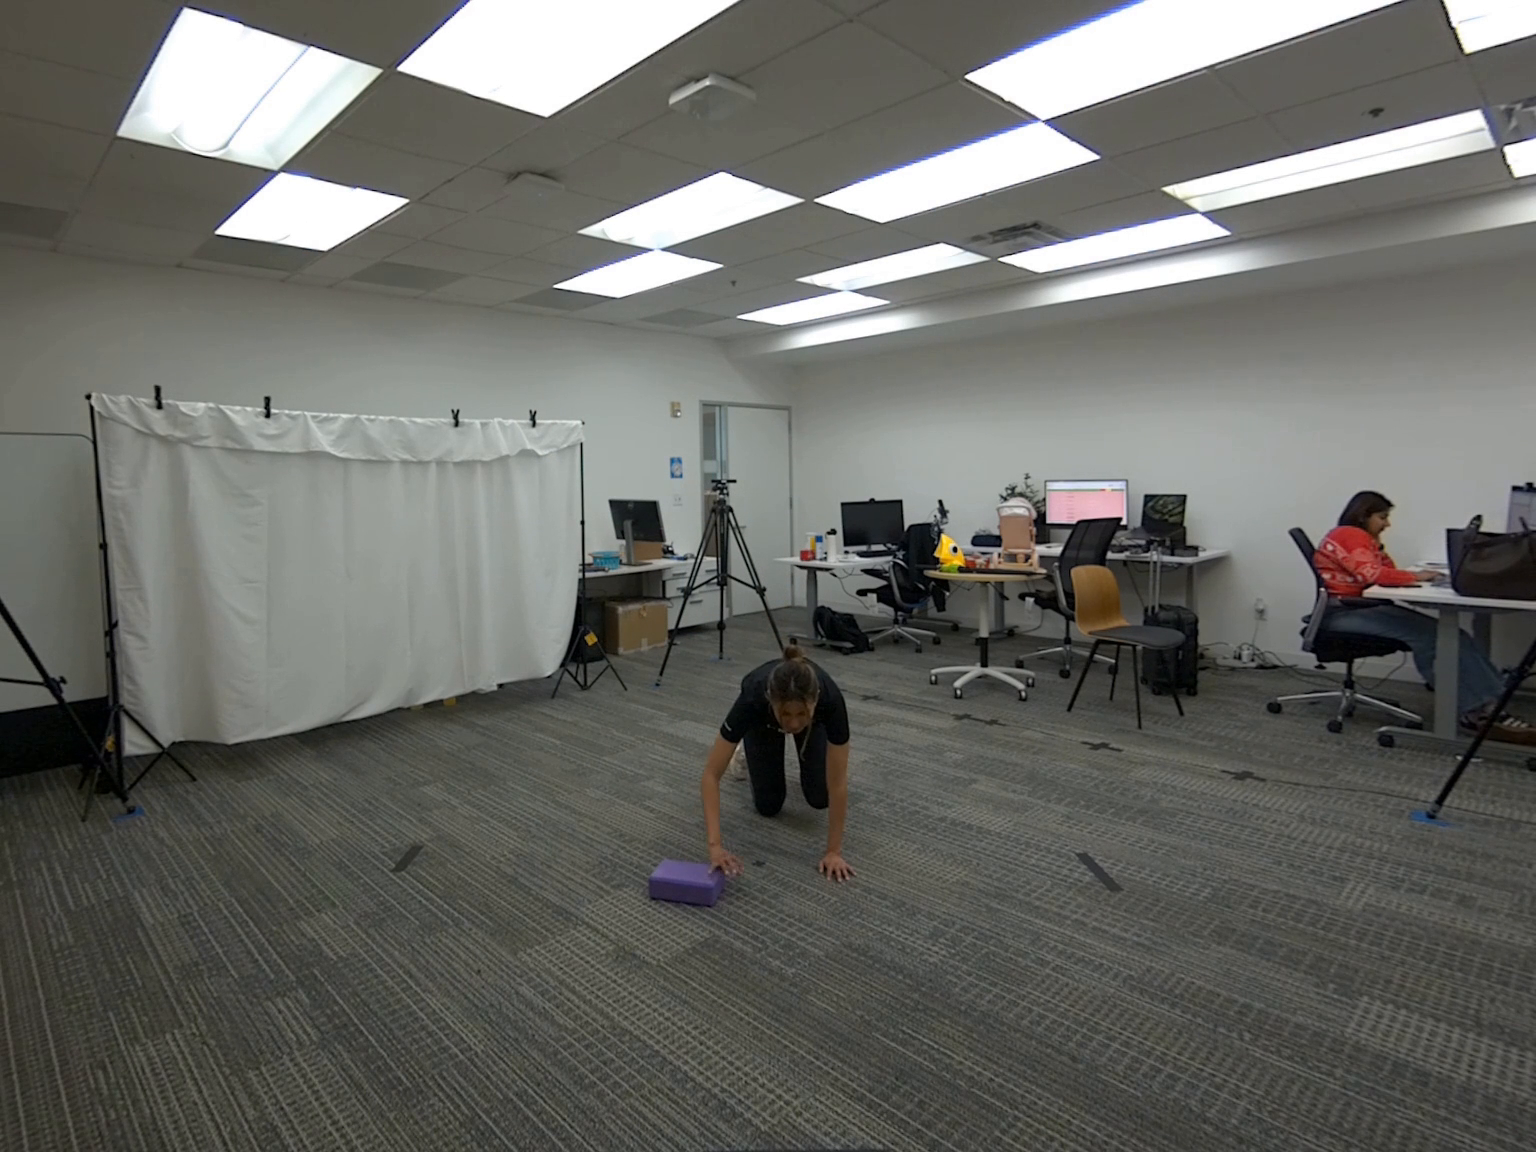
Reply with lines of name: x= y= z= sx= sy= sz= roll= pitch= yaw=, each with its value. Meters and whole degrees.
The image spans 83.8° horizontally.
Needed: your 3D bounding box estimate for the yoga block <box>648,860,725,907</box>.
yoga block: x=-0.266 y=1.033 z=2.893 sx=0.233 sy=0.076 sz=0.147 roll=1 pitch=6 yaw=16
